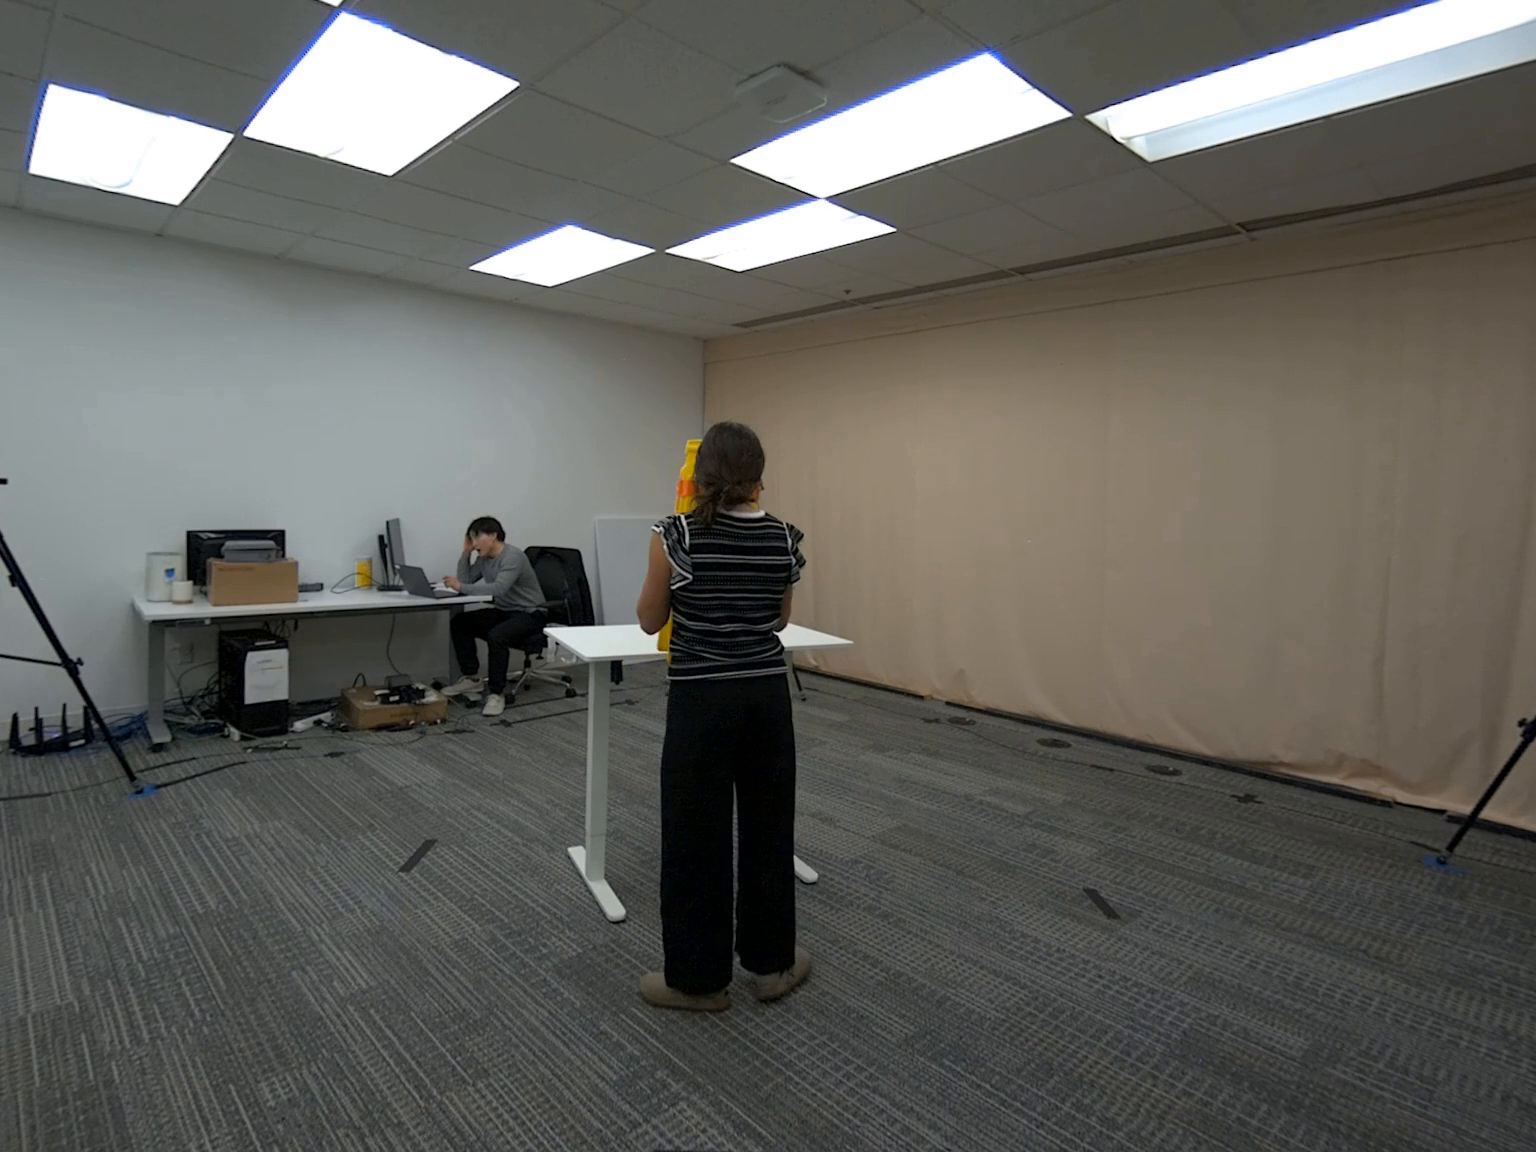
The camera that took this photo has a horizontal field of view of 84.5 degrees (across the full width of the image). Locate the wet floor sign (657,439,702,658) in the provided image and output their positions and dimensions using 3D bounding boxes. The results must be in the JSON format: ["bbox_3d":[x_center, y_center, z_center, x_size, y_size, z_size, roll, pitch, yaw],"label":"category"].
[{"bbox_3d":[-0.160,-0.073,2.497,0.279,0.645,0.293,2,2,-14],"label":"wet floor sign"}]
